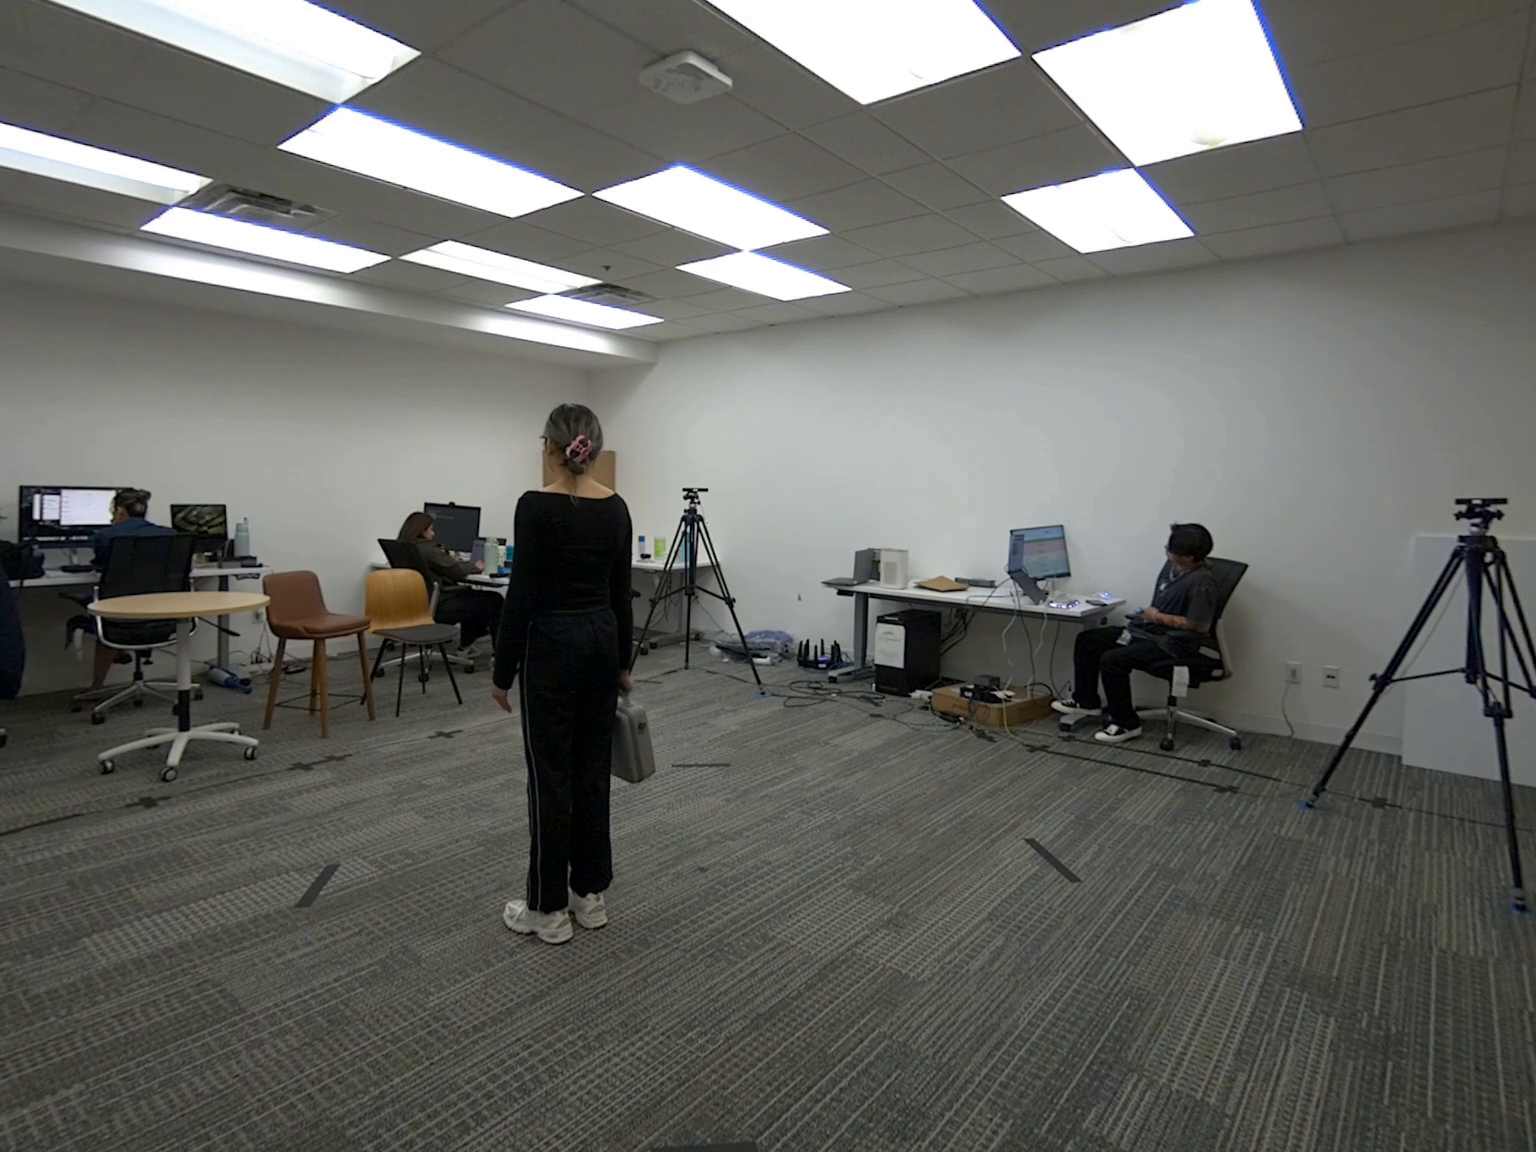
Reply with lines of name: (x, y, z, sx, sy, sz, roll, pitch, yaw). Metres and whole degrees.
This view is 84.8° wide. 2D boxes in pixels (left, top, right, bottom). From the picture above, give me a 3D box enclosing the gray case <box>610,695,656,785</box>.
gray case: (-0.520, 0.544, 2.901, 0.102, 0.259, 0.265, -11, 10, -40)
